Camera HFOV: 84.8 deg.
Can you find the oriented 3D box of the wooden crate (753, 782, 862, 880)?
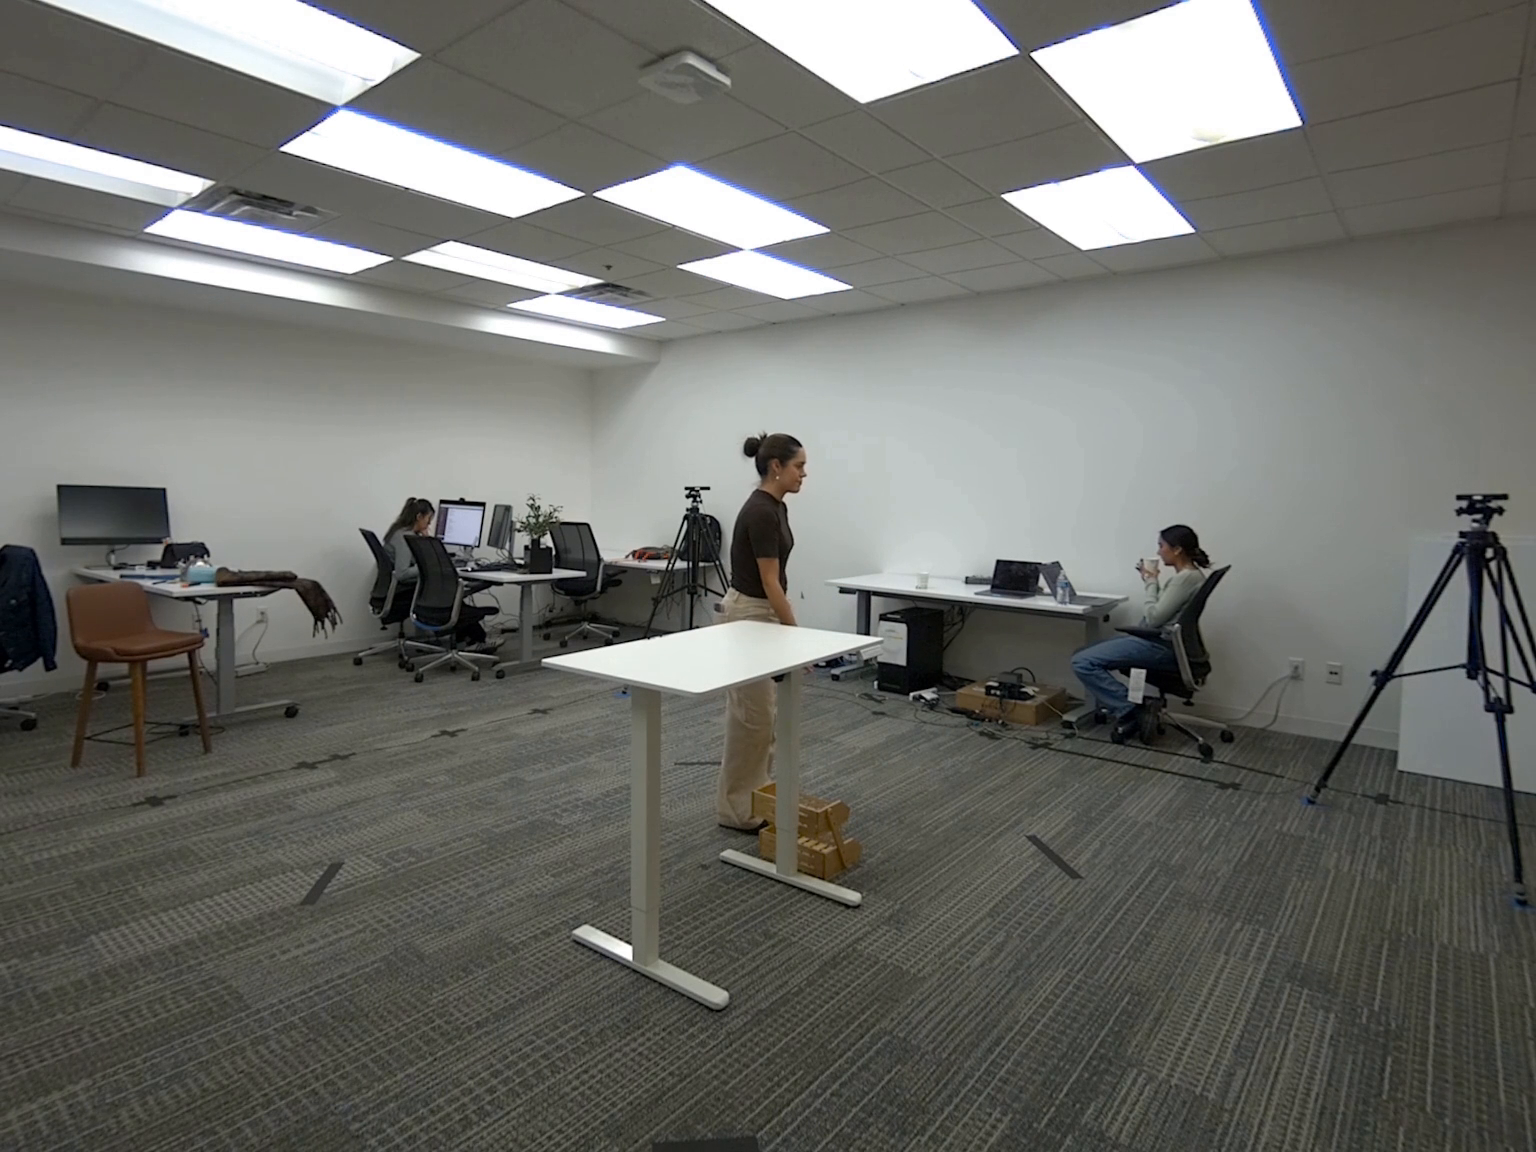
[{"bbox_3d":[0.136,0.928,3.201,0.335,0.272,0.293,5,6,38],"label":"wooden crate"}]
